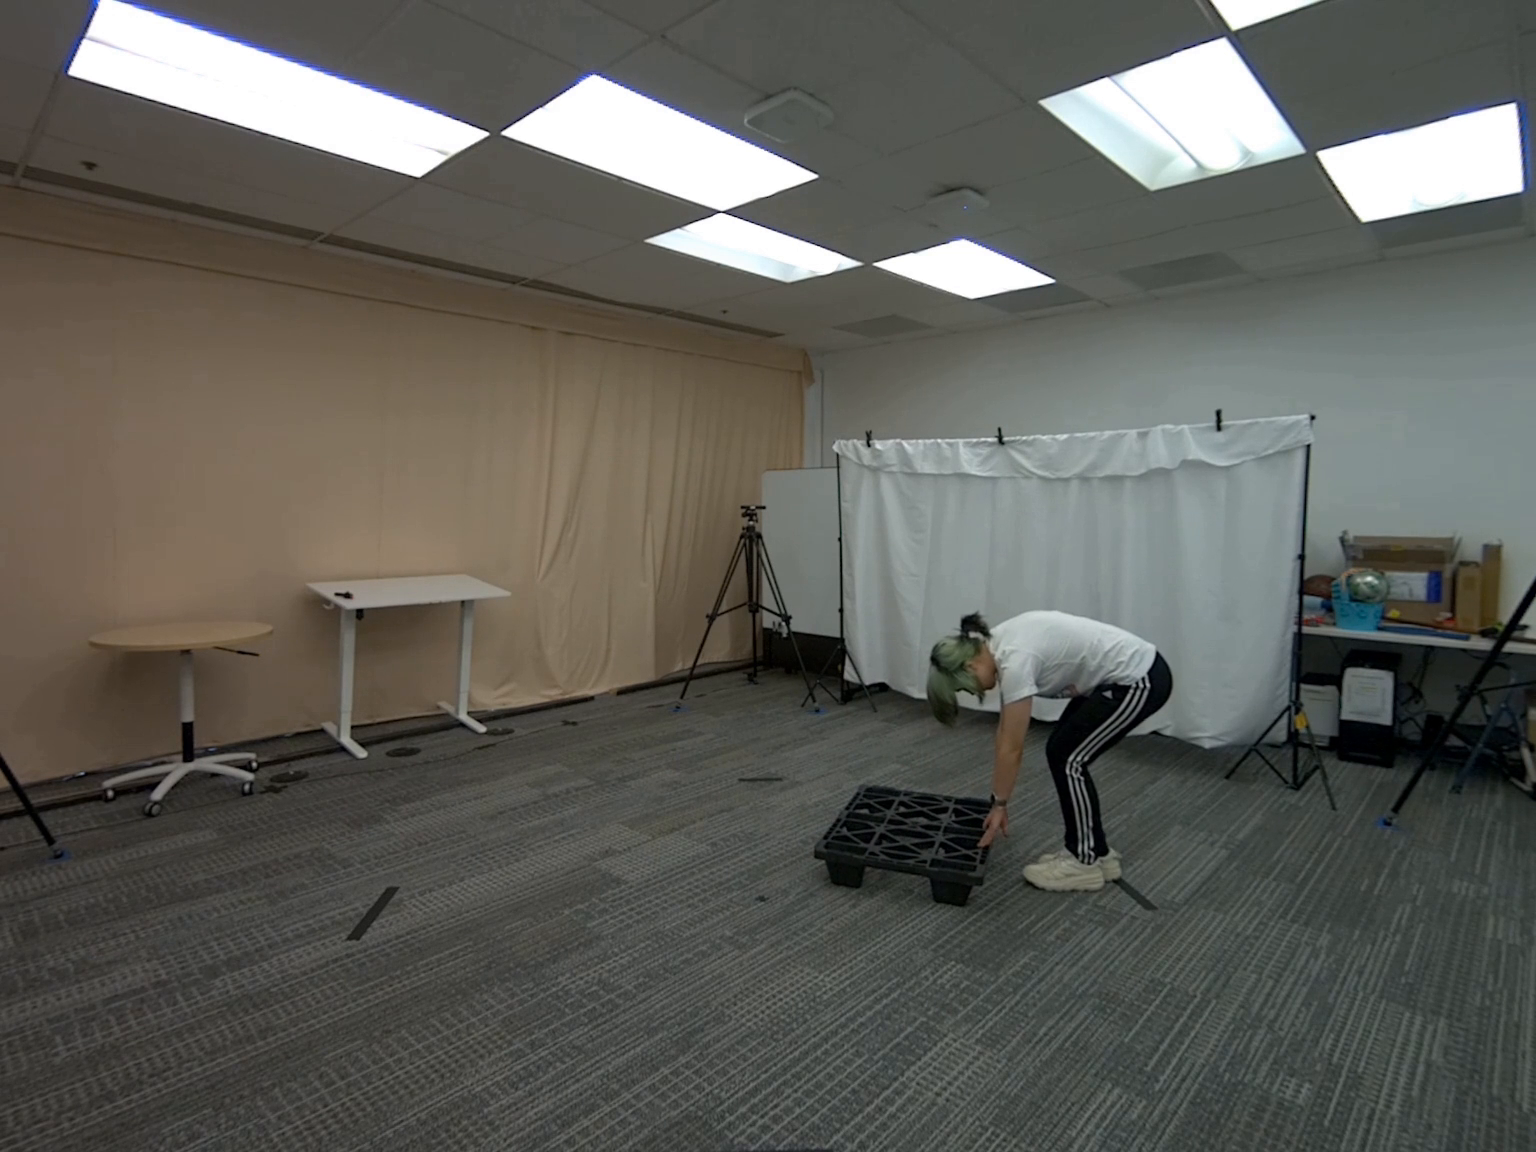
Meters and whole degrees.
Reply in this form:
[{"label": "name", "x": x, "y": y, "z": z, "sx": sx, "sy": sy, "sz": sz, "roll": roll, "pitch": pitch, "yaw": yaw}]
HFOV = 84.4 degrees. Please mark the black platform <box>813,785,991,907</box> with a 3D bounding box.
[{"label": "black platform", "x": 0.583, "y": 1.045, "z": 3.335, "sx": 0.619, "sy": 0.143, "sz": 0.789, "roll": 2, "pitch": 5, "yaw": 21}]
